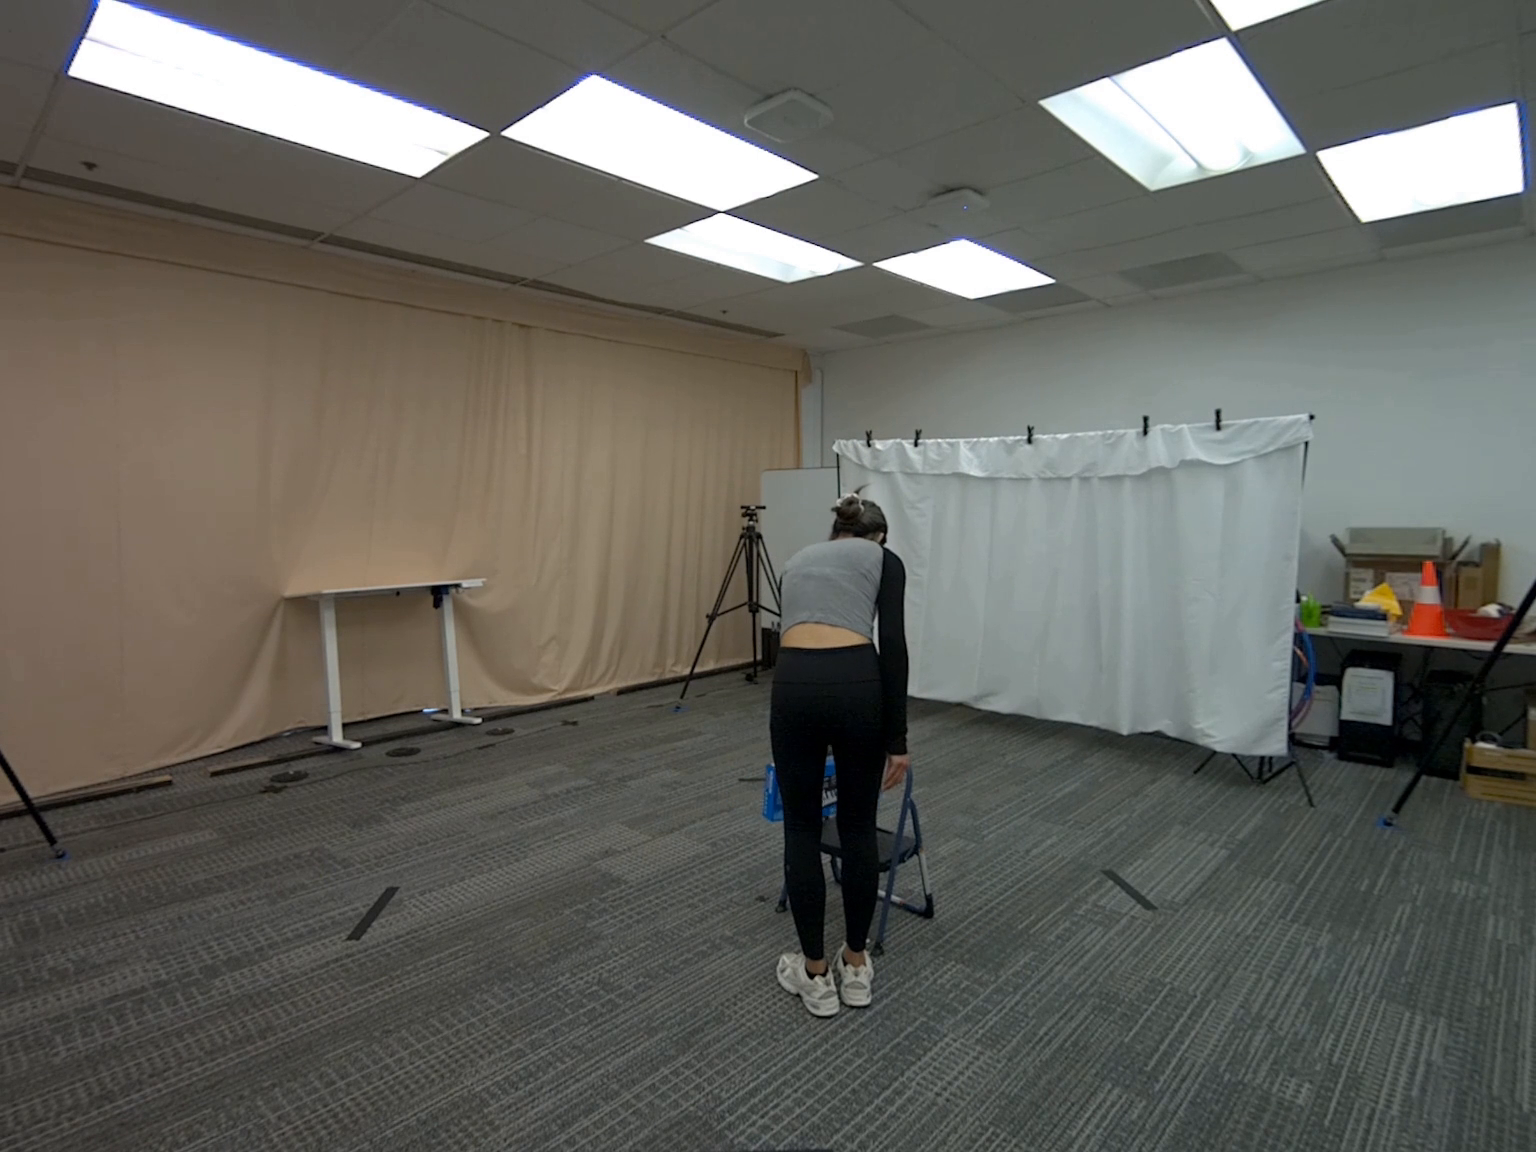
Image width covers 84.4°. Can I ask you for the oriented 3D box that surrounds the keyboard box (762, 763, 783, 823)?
[{"bbox_3d":[0.195,0.704,2.788,0.425,0.176,0.061,3,2,-29],"label":"keyboard box"}]
